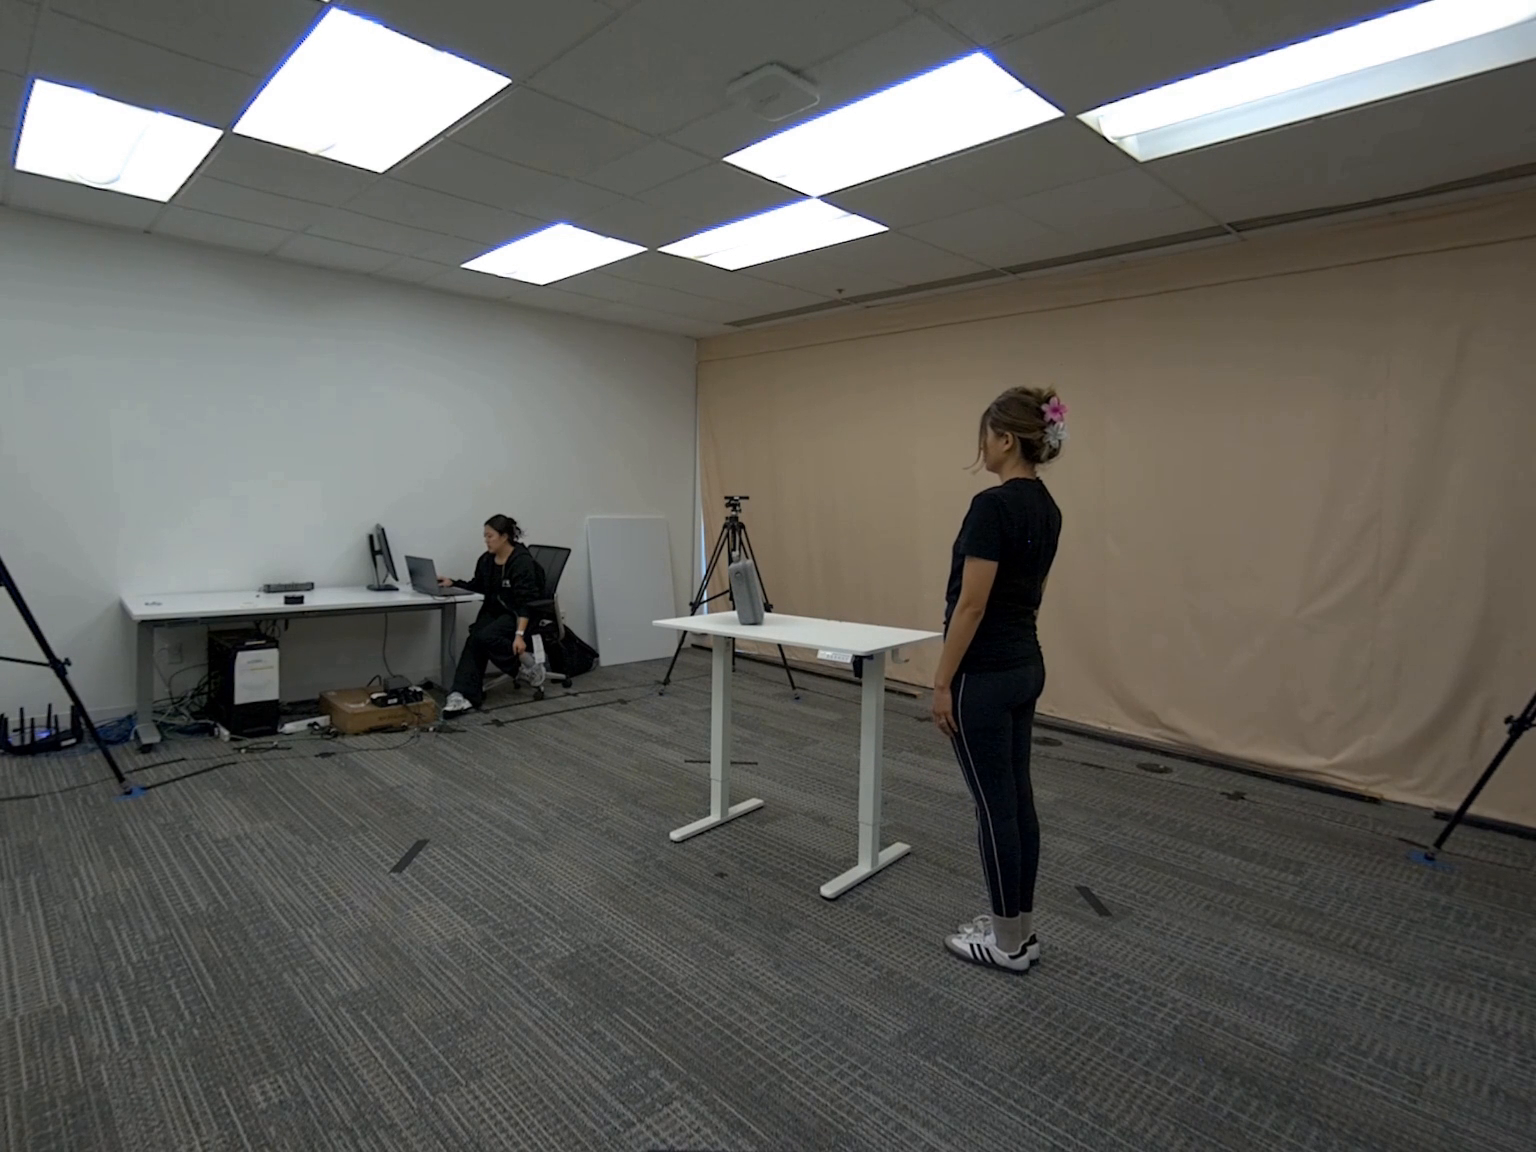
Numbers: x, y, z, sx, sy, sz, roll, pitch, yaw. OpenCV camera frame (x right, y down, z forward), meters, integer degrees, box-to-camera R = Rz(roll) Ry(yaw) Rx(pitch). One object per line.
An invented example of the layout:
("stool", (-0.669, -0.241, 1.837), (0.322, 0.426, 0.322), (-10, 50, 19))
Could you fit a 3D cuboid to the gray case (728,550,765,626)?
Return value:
("gray case", (-0.105, 0.057, 3.484), (0.104, 0.260, 0.257), (-8, 2, -2))
